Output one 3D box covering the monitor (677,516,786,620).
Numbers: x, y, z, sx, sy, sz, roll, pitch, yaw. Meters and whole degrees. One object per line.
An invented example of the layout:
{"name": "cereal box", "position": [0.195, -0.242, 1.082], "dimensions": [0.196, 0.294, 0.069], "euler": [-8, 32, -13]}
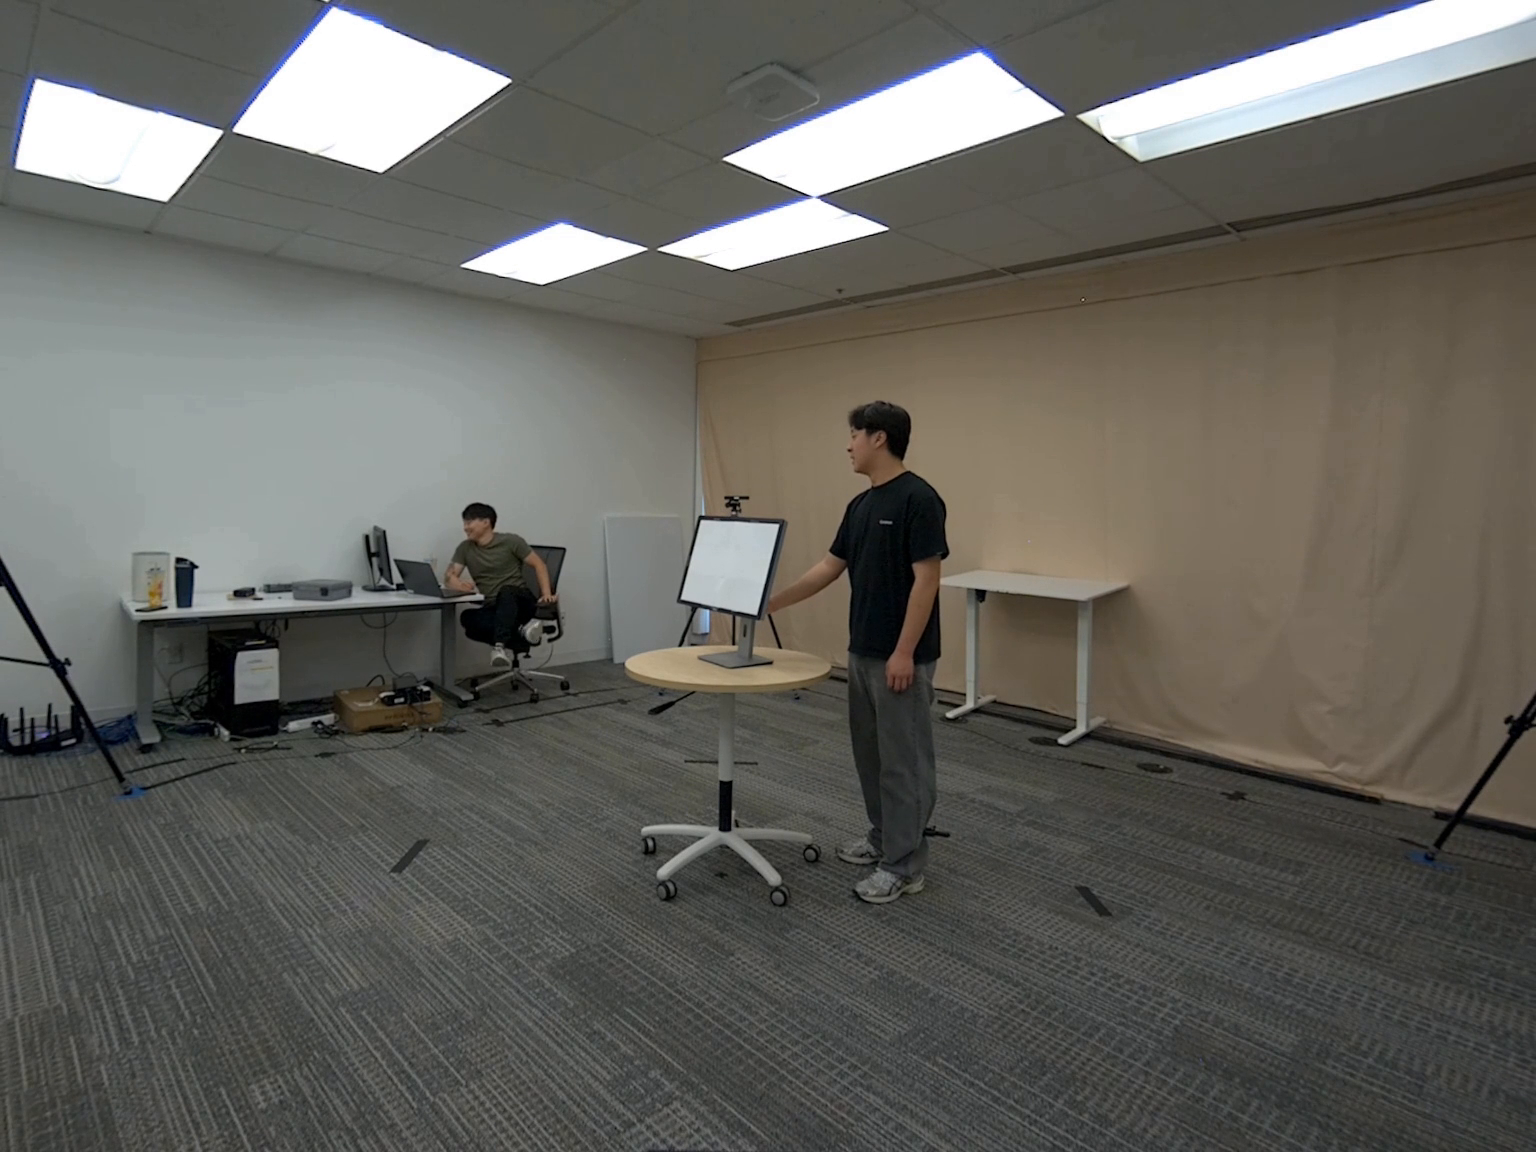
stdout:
{"name": "monitor", "position": [-0.127, 0.062, 3.164], "dimensions": [0.217, 0.564, 0.575], "euler": [-2, 4, -33]}
